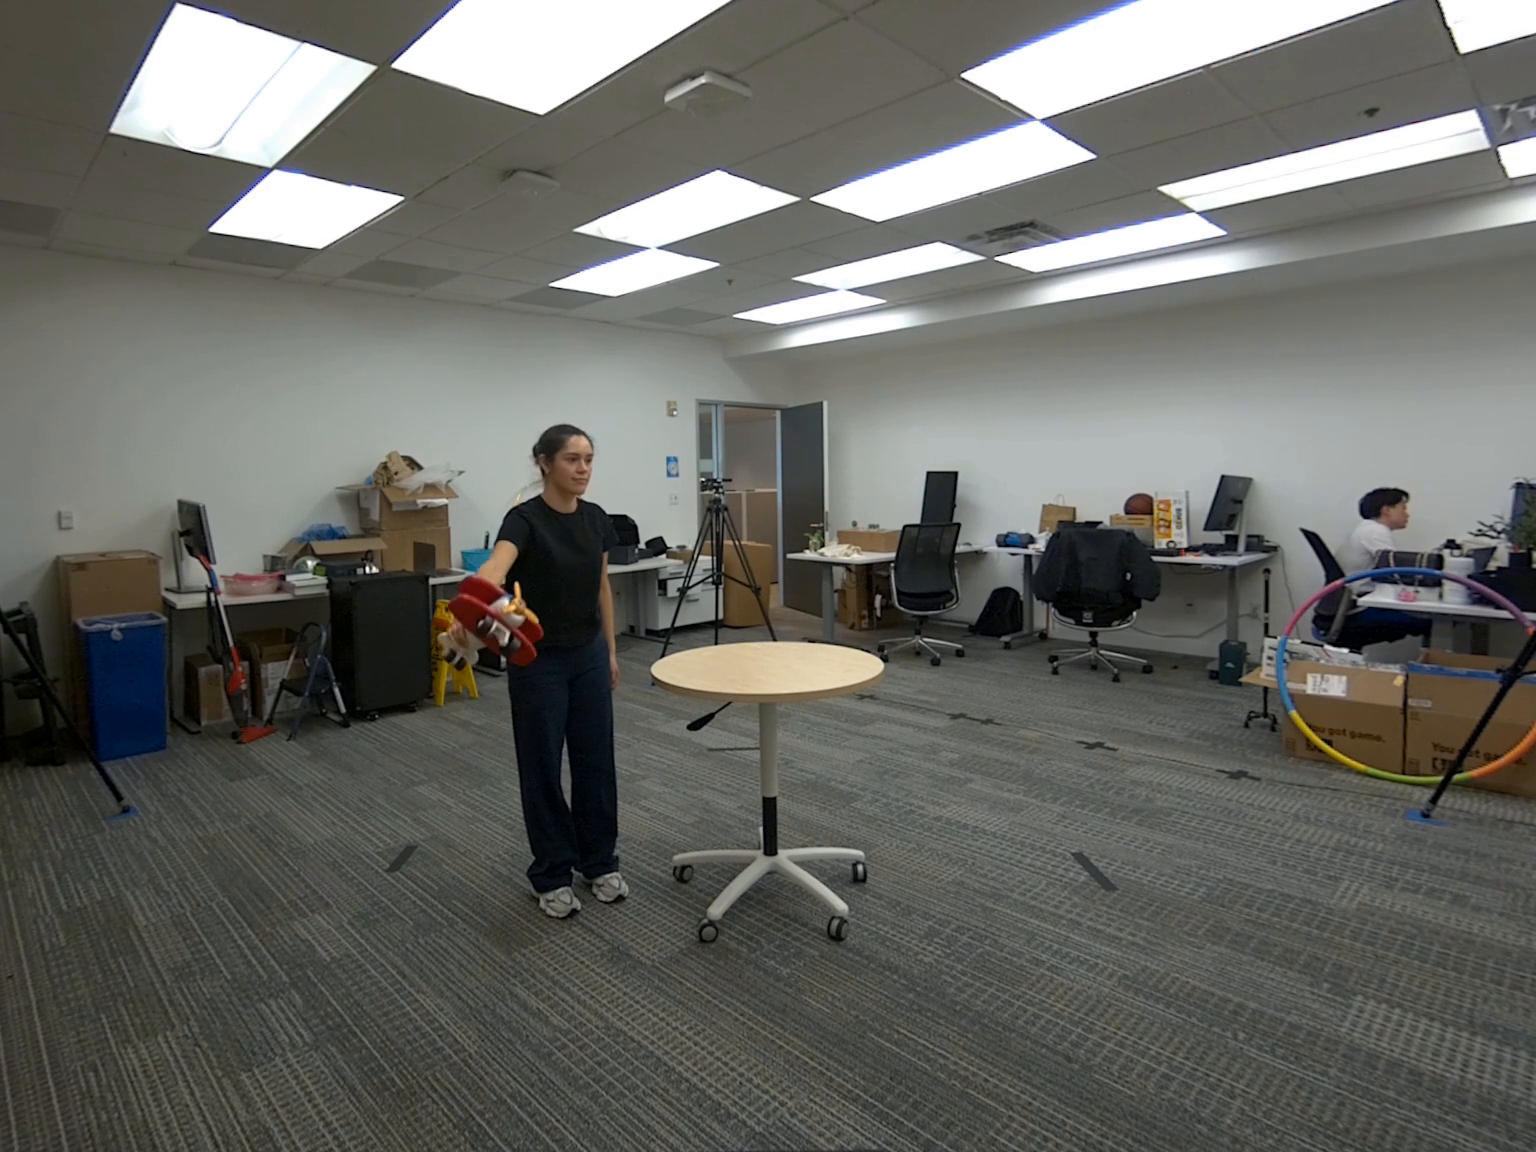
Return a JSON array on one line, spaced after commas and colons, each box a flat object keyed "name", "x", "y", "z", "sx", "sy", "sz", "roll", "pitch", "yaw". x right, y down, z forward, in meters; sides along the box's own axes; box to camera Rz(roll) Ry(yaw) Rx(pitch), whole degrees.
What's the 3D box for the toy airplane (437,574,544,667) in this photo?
[{"name": "toy airplane", "x": -0.719, "y": 0.134, "z": 2.148, "sx": 0.263, "sy": 0.243, "sz": 0.159, "roll": -1, "pitch": 43, "yaw": 17}]
